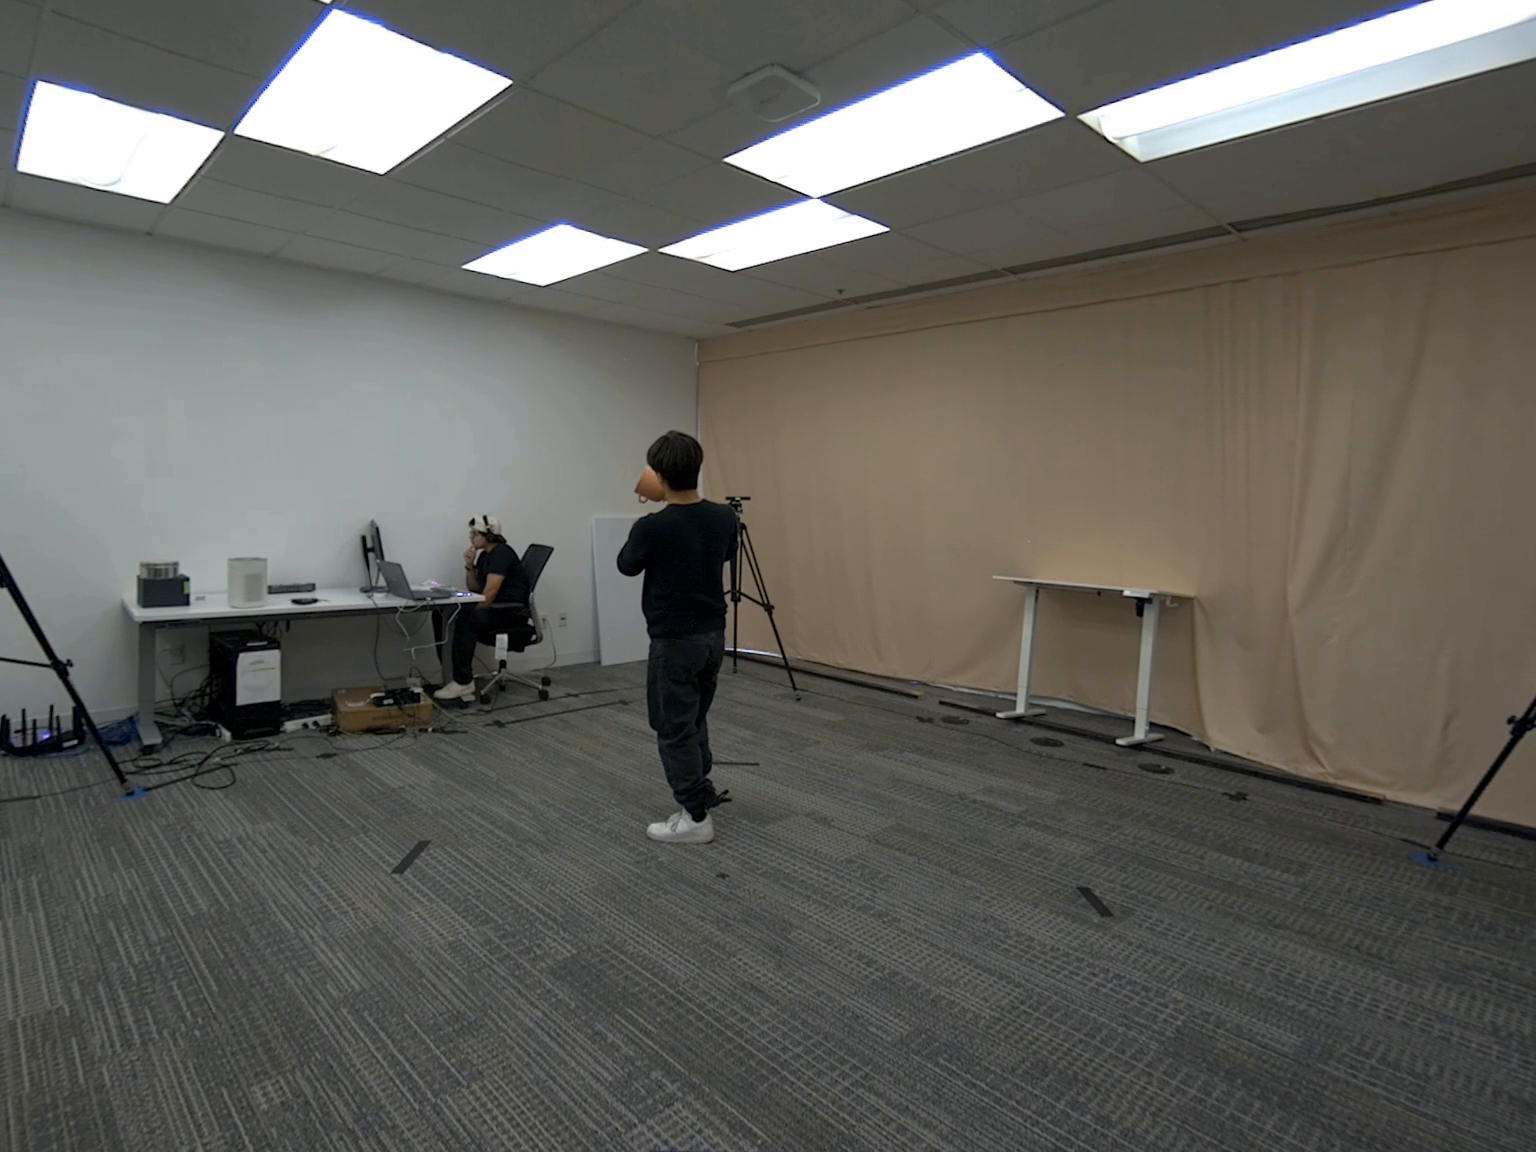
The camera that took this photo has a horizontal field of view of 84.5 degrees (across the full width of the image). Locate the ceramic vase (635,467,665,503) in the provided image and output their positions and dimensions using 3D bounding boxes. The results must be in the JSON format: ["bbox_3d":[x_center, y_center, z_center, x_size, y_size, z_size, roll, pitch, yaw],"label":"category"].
[{"bbox_3d":[-0.486,-0.387,3.768,0.219,0.158,0.136,26,26,-4],"label":"ceramic vase"}]
